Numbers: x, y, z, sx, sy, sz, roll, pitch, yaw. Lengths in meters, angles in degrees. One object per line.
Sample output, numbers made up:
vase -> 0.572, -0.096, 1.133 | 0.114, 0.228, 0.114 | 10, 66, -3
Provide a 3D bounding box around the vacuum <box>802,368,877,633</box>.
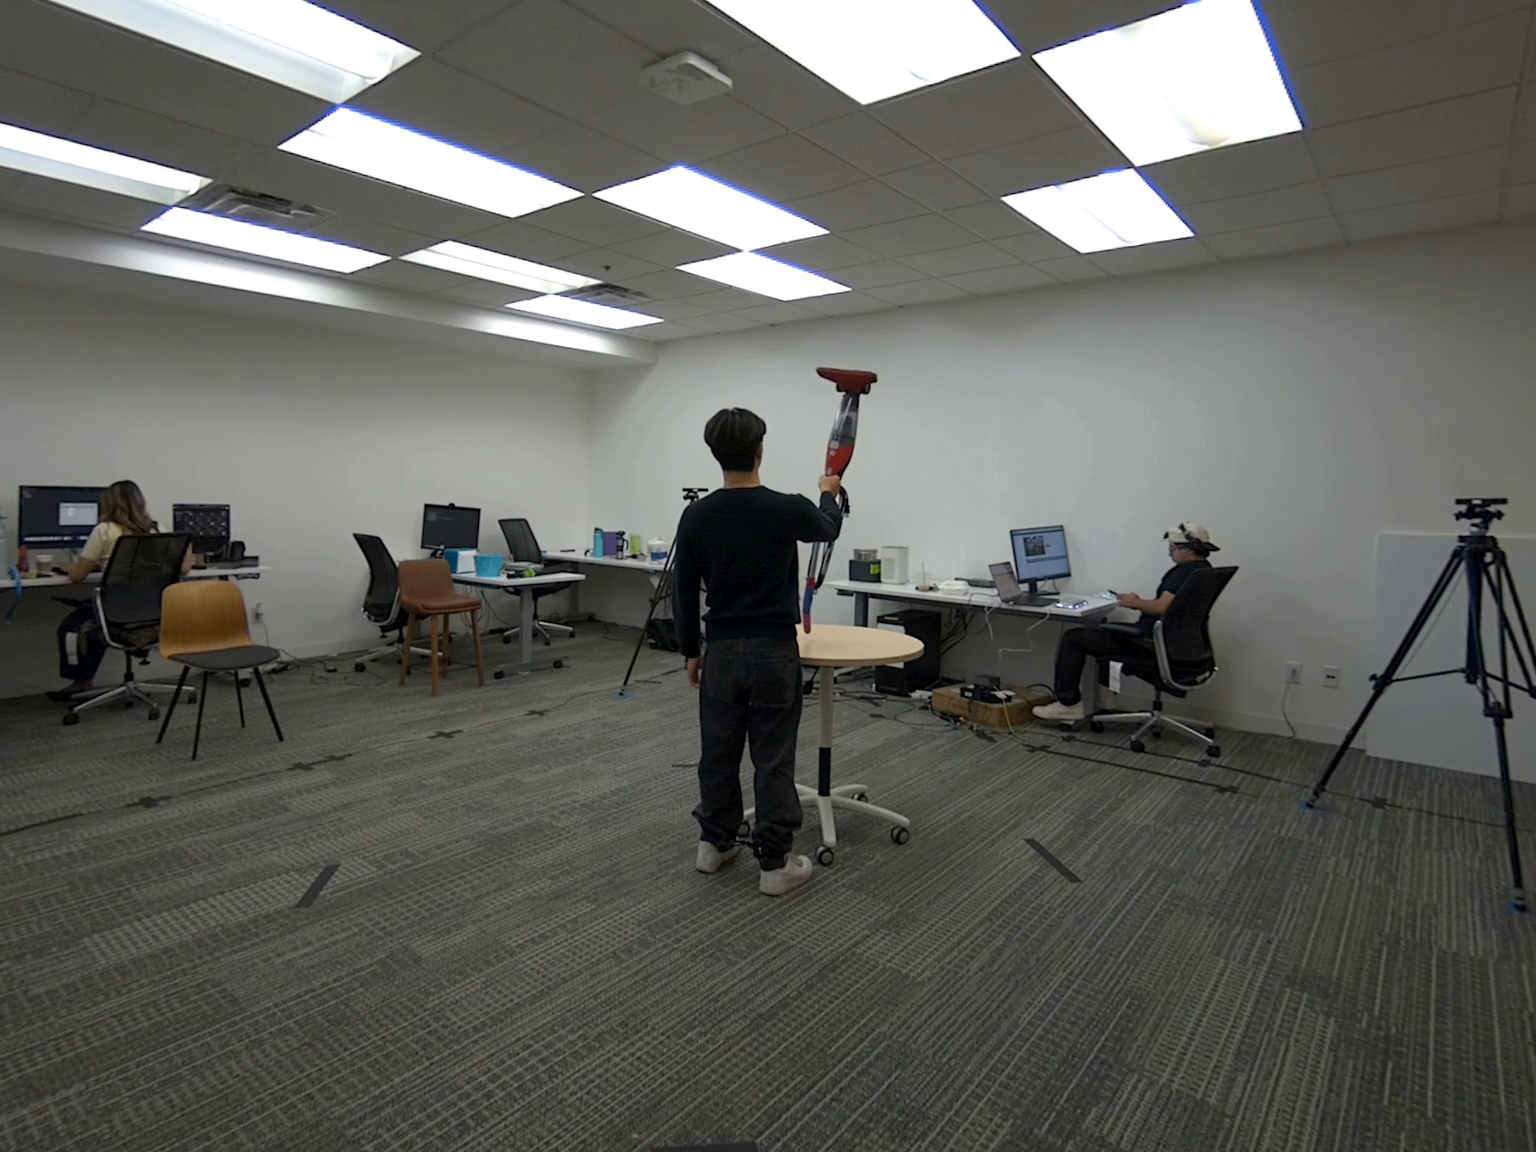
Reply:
vacuum -> 0.241, -0.287, 3.461 | 0.261, 1.045, 0.140 | 12, 6, 32
